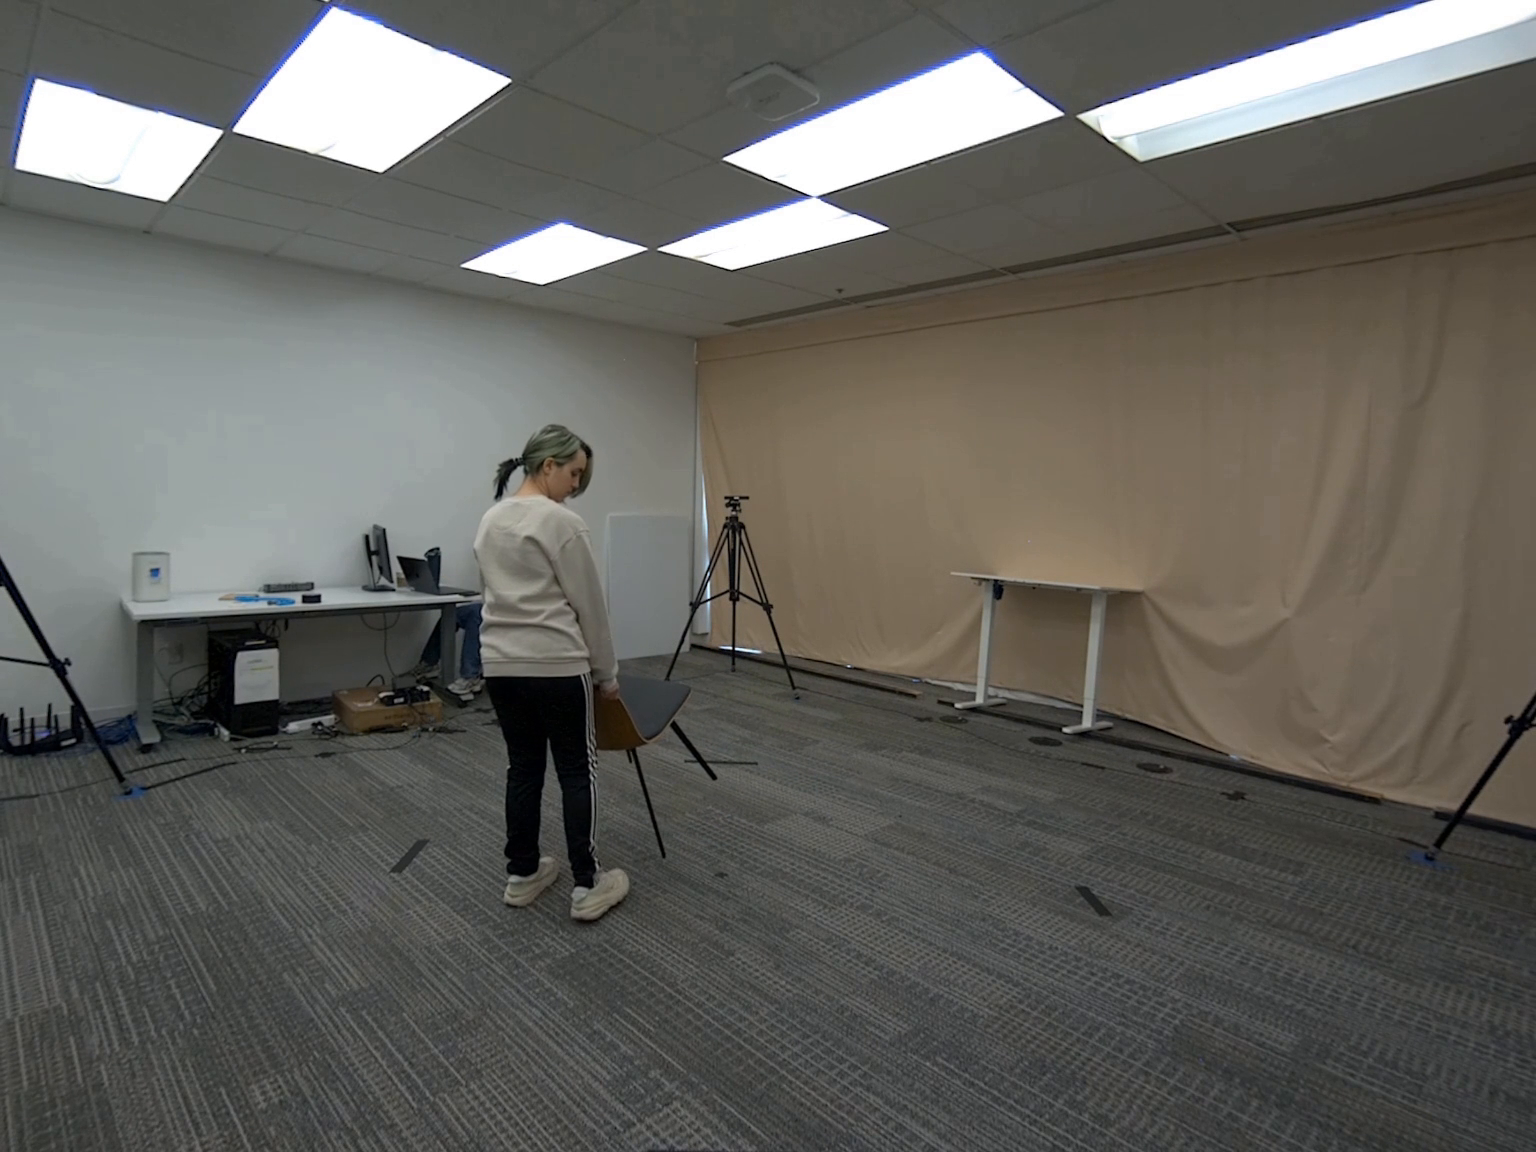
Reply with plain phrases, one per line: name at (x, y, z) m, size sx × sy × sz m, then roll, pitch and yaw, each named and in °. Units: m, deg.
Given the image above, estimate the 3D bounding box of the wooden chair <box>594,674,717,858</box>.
wooden chair at (-0.577, 0.586, 3.336) m, size 0.488 × 0.857 × 0.524 m, roll 3°, pitch 34°, yaw 27°
